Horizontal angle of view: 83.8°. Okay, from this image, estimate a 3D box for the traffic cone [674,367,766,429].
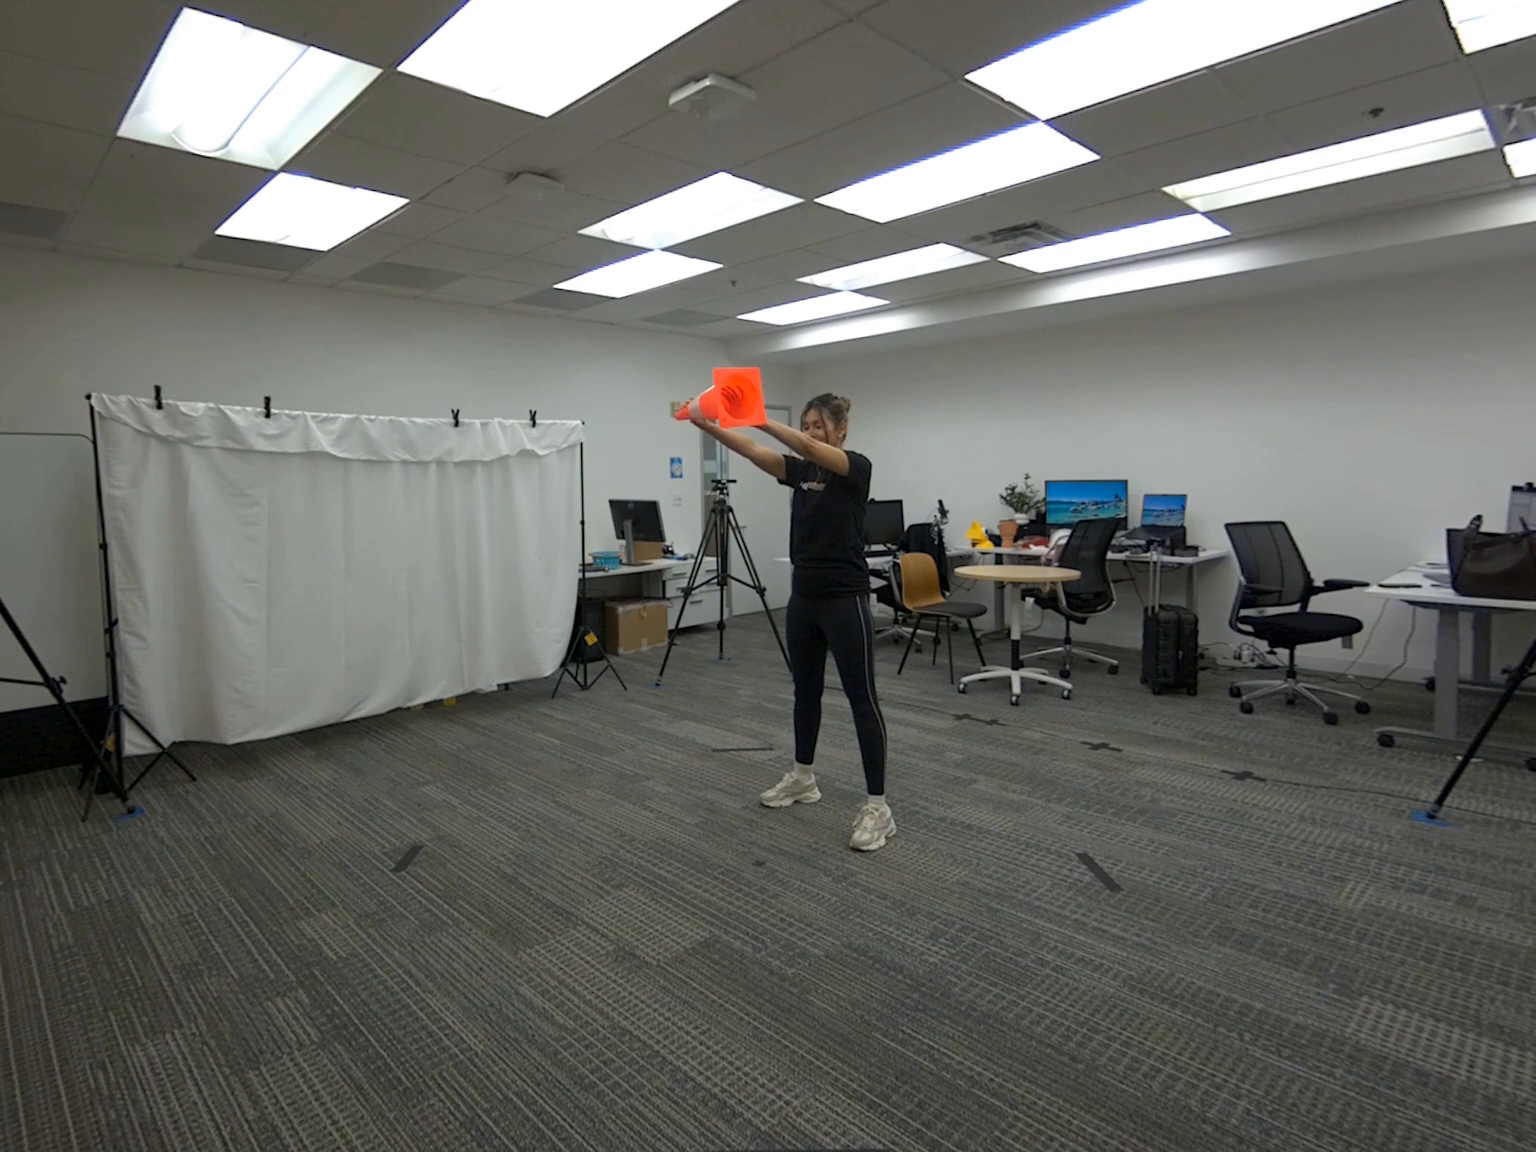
[{"bbox_3d":[-0.207,-0.594,3.028,0.199,0.204,0.393,-11,4,-37],"label":"traffic cone"}]
